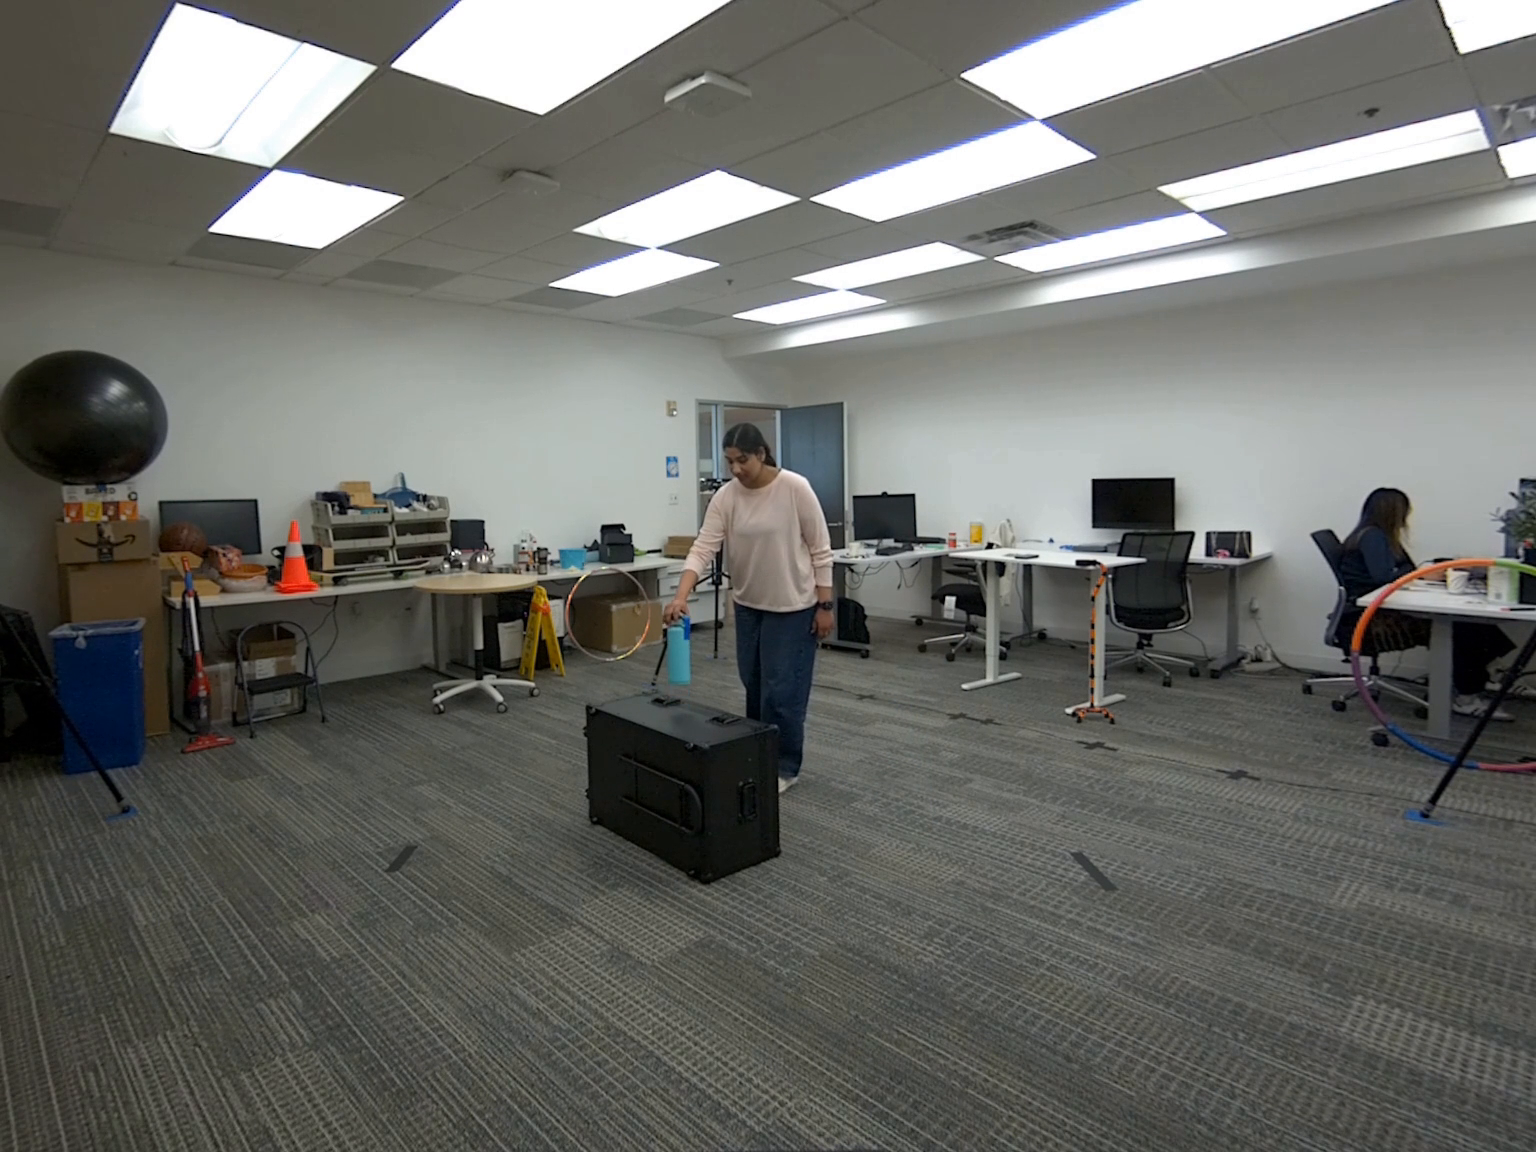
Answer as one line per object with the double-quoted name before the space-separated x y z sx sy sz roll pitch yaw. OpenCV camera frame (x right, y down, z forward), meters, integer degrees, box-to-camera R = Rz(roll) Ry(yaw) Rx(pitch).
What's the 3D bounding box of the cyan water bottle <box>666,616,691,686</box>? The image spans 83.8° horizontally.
"cyan water bottle" -0.358 0.289 3.428 0.092 0.284 0.092 2 -3 -2
